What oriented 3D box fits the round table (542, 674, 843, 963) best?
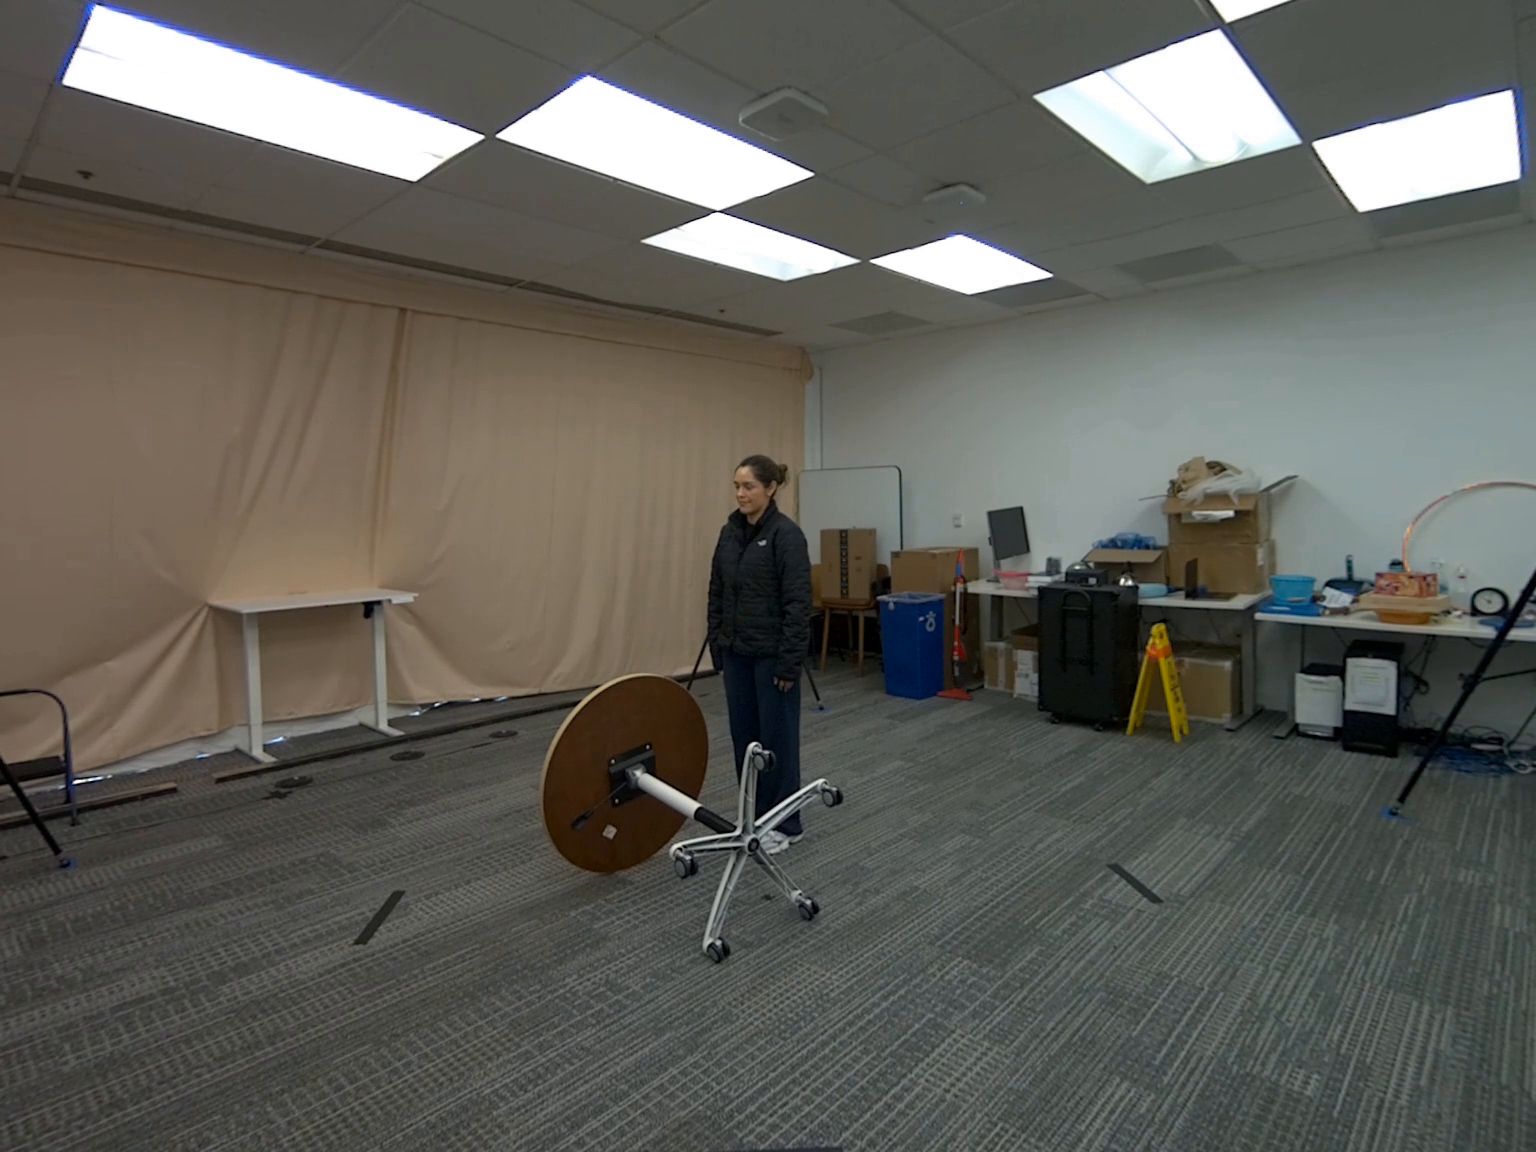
[{"bbox_3d":[-0.241,0.806,2.932,0.761,0.781,0.814,-4,11,-43],"label":"round table"}]
